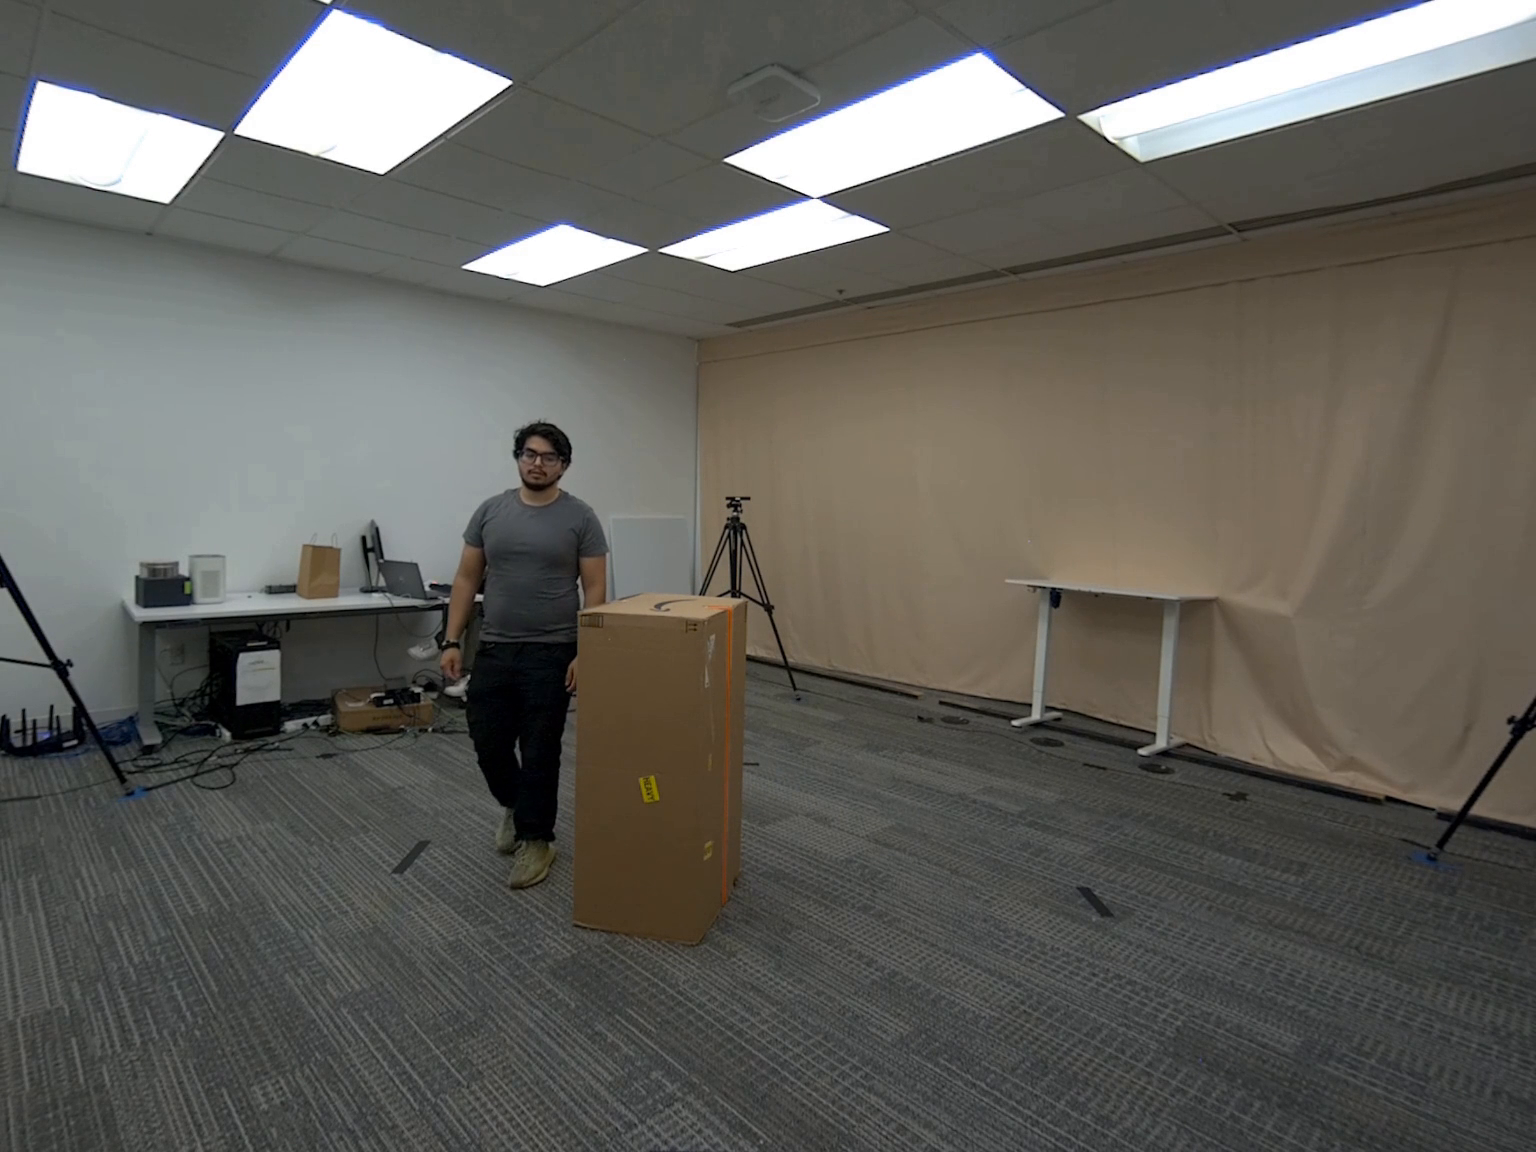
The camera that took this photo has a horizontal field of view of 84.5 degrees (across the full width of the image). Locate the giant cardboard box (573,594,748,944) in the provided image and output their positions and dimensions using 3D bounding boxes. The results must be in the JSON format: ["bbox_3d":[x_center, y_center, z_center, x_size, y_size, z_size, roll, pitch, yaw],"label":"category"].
[{"bbox_3d":[-0.354,0.607,2.910,0.431,1.024,0.572,2,3,13],"label":"giant cardboard box"}]
